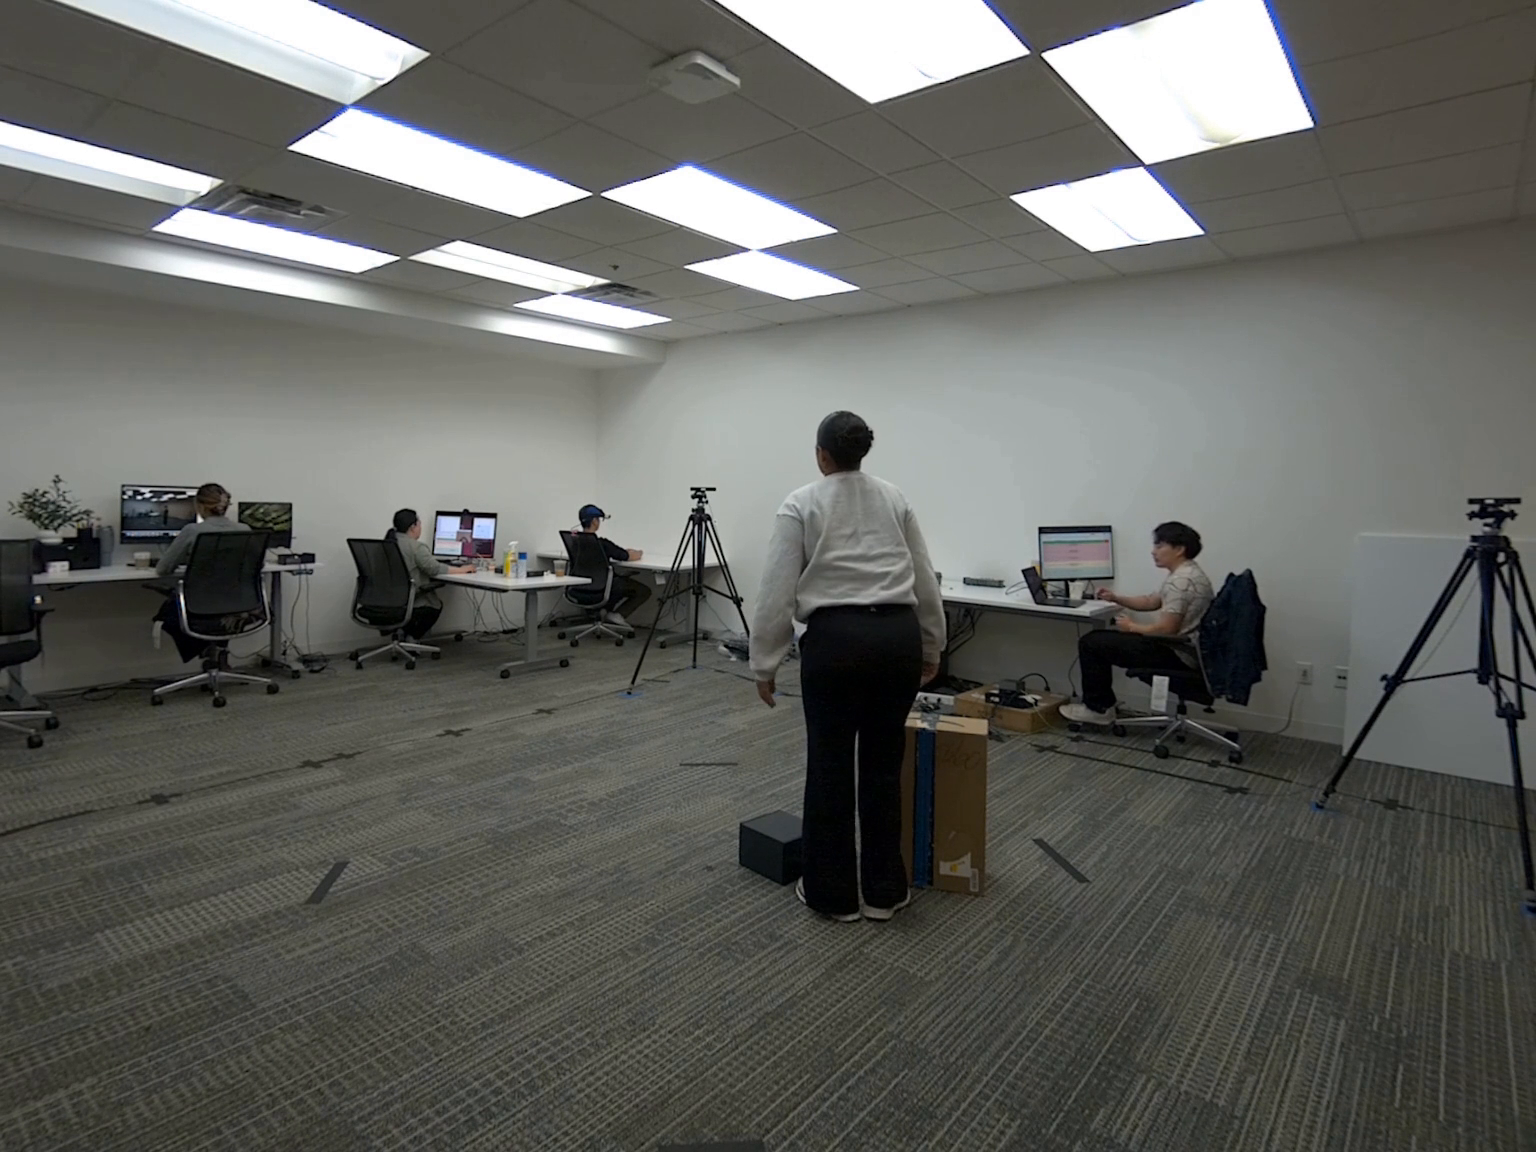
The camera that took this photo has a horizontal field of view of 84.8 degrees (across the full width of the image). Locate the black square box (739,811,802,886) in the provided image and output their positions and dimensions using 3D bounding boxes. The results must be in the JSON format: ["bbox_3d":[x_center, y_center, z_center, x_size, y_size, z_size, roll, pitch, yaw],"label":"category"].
[{"bbox_3d":[0.039,0.989,3.133,0.210,0.155,0.236,-3,6,-44],"label":"black square box"}]
